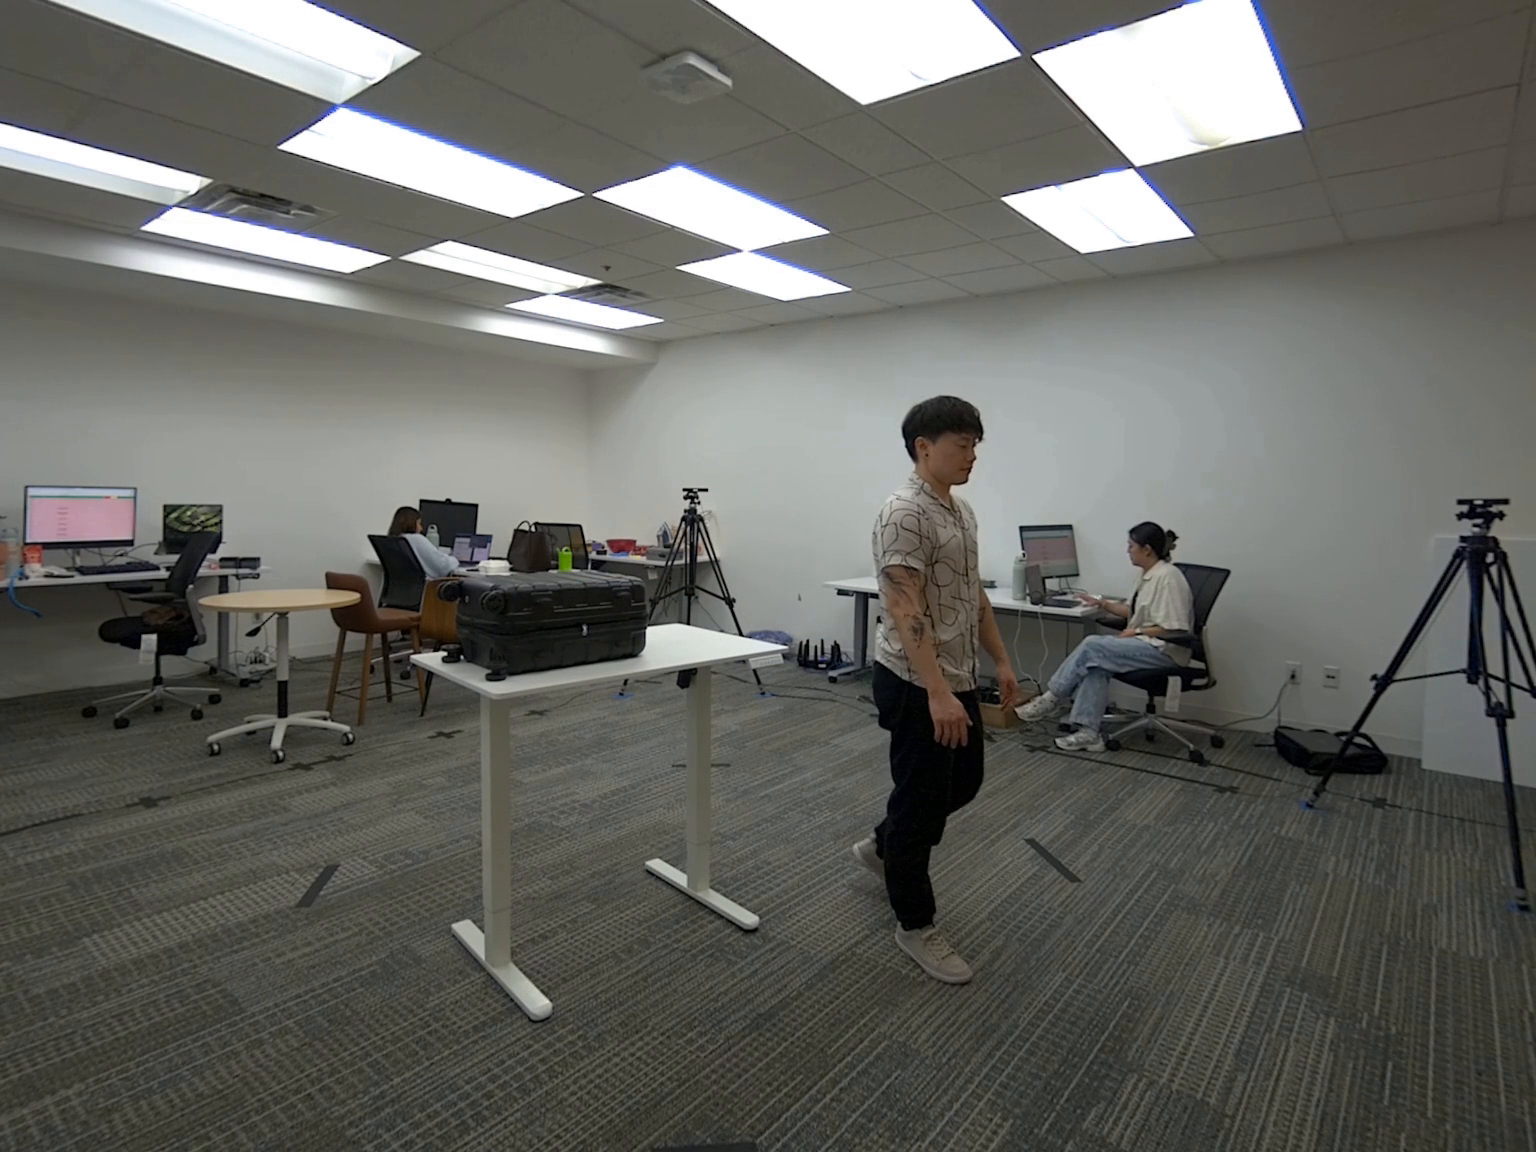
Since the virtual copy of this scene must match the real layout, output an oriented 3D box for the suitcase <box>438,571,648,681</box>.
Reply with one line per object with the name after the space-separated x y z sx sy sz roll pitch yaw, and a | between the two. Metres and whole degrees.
-0.659 0.124 2.521 0.533 0.247 0.388 -4 6 -43 | suitcase
